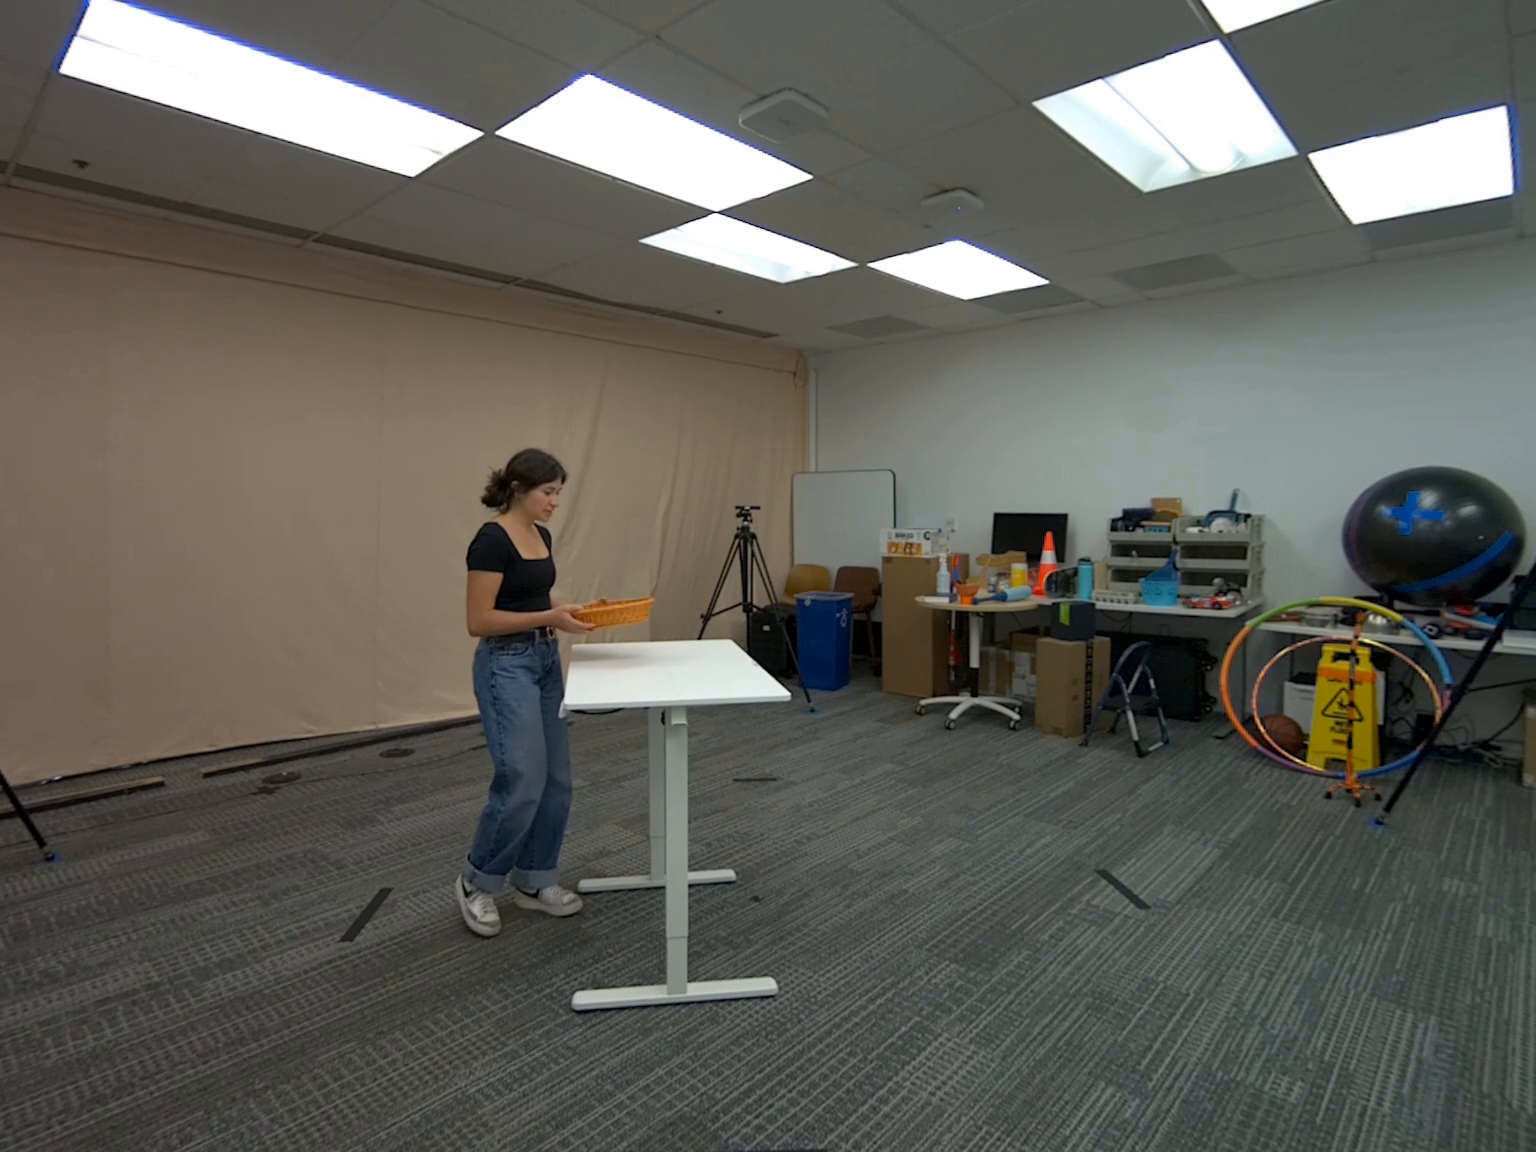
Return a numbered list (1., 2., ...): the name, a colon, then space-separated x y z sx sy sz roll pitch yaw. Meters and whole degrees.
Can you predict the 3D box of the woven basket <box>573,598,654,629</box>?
1. woven basket: -0.549 0.142 2.839 0.360 0.073 0.246 -5 3 30
